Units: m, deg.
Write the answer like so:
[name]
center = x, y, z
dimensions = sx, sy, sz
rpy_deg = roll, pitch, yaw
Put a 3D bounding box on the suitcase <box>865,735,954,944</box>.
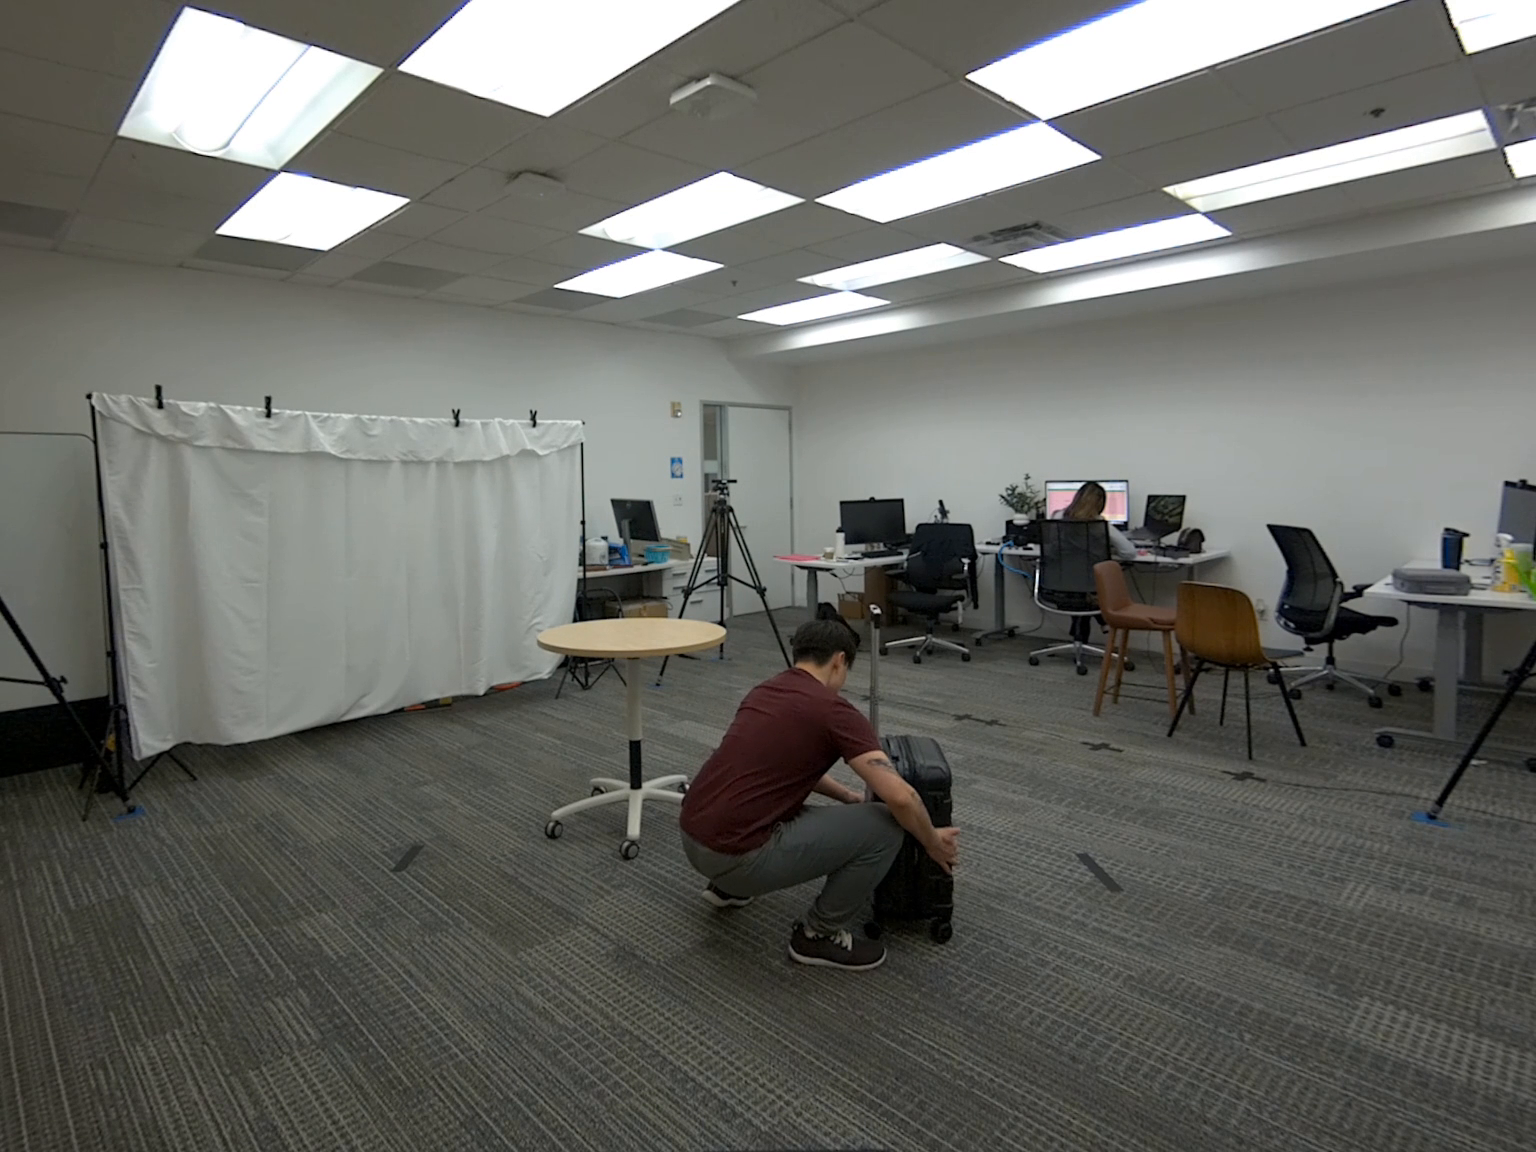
[suitcase]
center = 0.445, 0.592, 2.706
dimensions = 0.259, 0.976, 0.382
rpy_deg = 1, 3, 6
